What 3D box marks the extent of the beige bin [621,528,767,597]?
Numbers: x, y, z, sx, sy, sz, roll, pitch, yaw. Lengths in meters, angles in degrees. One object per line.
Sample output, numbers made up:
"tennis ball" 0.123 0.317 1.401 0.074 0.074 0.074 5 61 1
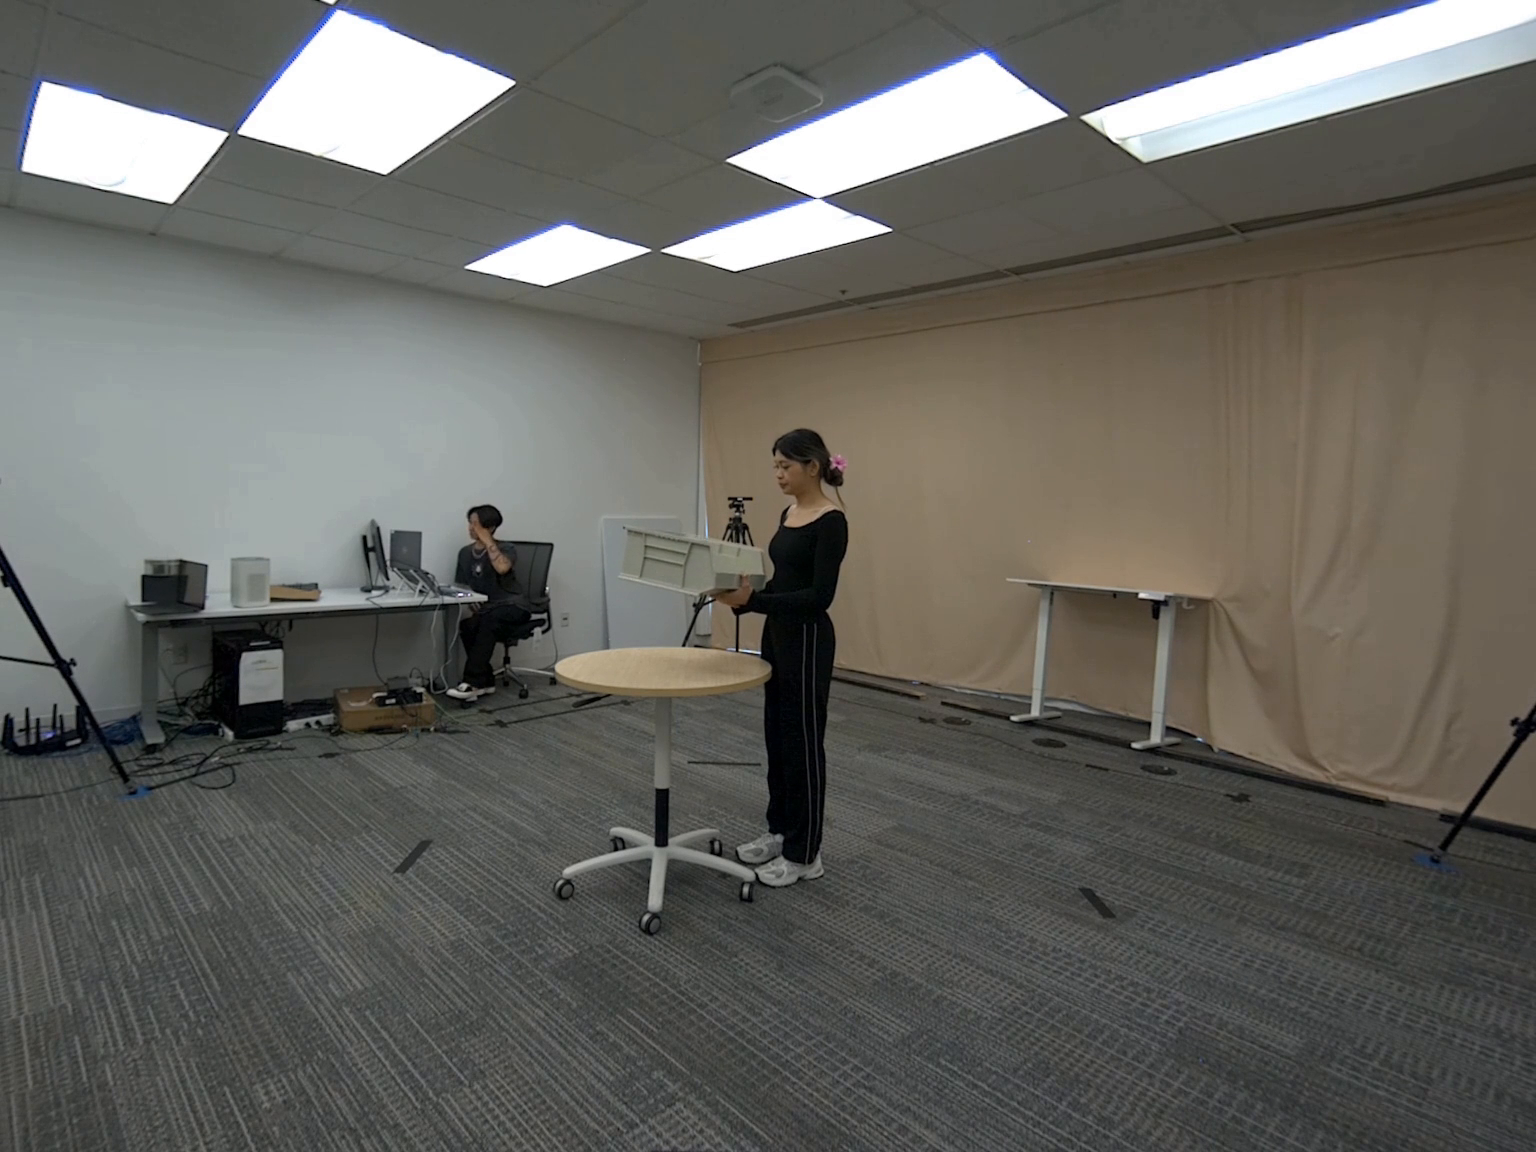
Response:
"beige bin" -0.259 -0.038 2.934 0.386 0.188 0.414 12 4 26
